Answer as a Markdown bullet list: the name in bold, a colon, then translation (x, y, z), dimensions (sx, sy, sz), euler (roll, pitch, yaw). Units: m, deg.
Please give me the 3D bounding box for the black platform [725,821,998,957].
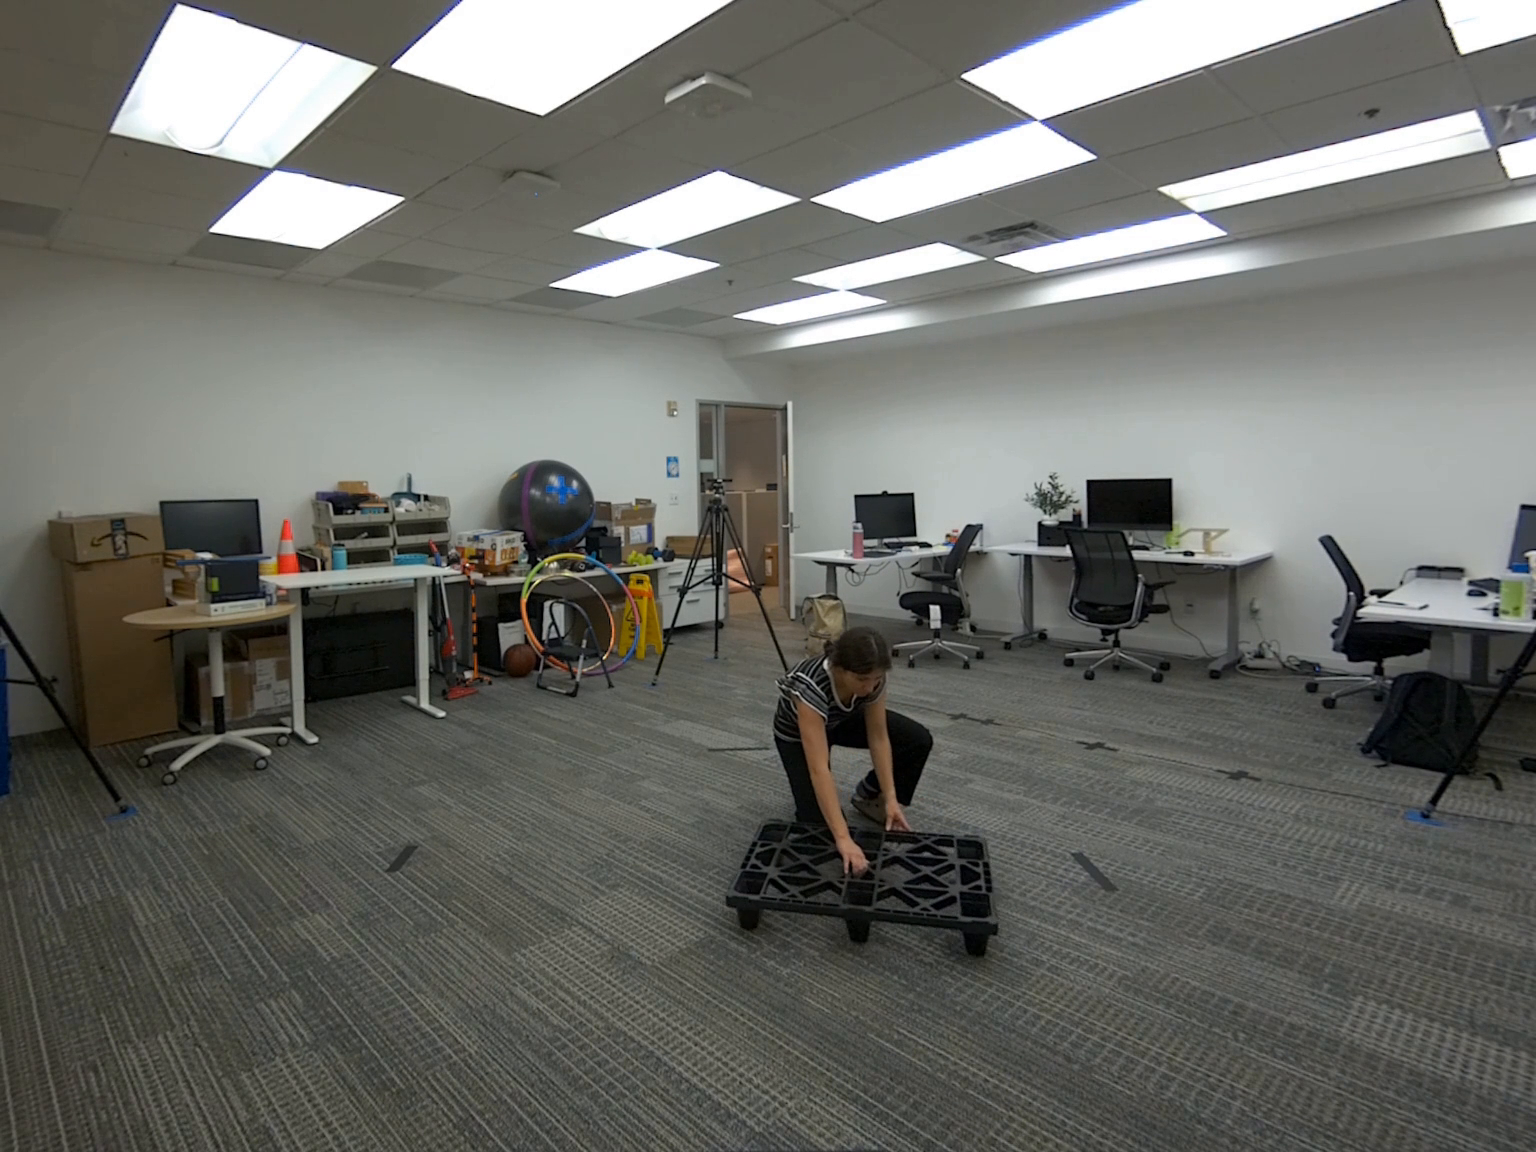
- **black platform**: translation (0.317, 1.008, 2.791), dimensions (0.816, 0.142, 0.601), euler (0, 7, 13)
